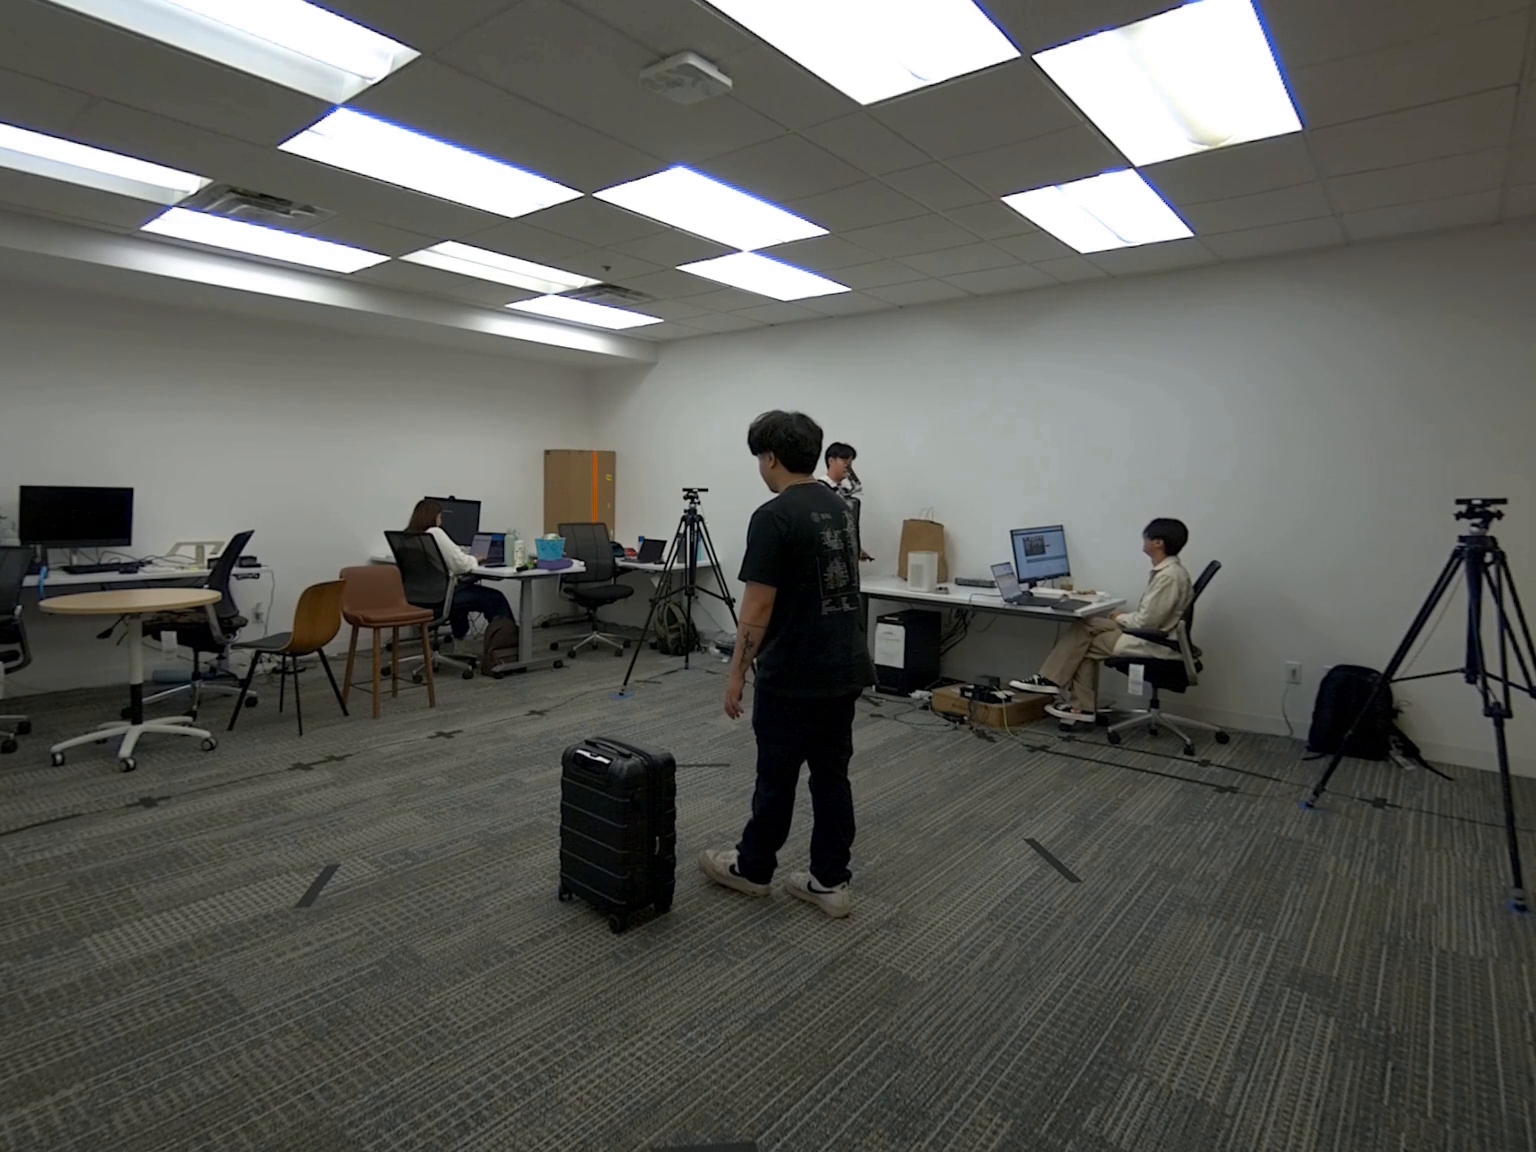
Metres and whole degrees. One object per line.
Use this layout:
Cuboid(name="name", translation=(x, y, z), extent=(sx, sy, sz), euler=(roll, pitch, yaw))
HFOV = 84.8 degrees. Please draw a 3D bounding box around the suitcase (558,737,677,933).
Cuboid(name="suitcase", translation=(-0.511, 0.818, 2.810), extent=(0.388, 0.547, 0.241), euler=(4, 5, 42))
